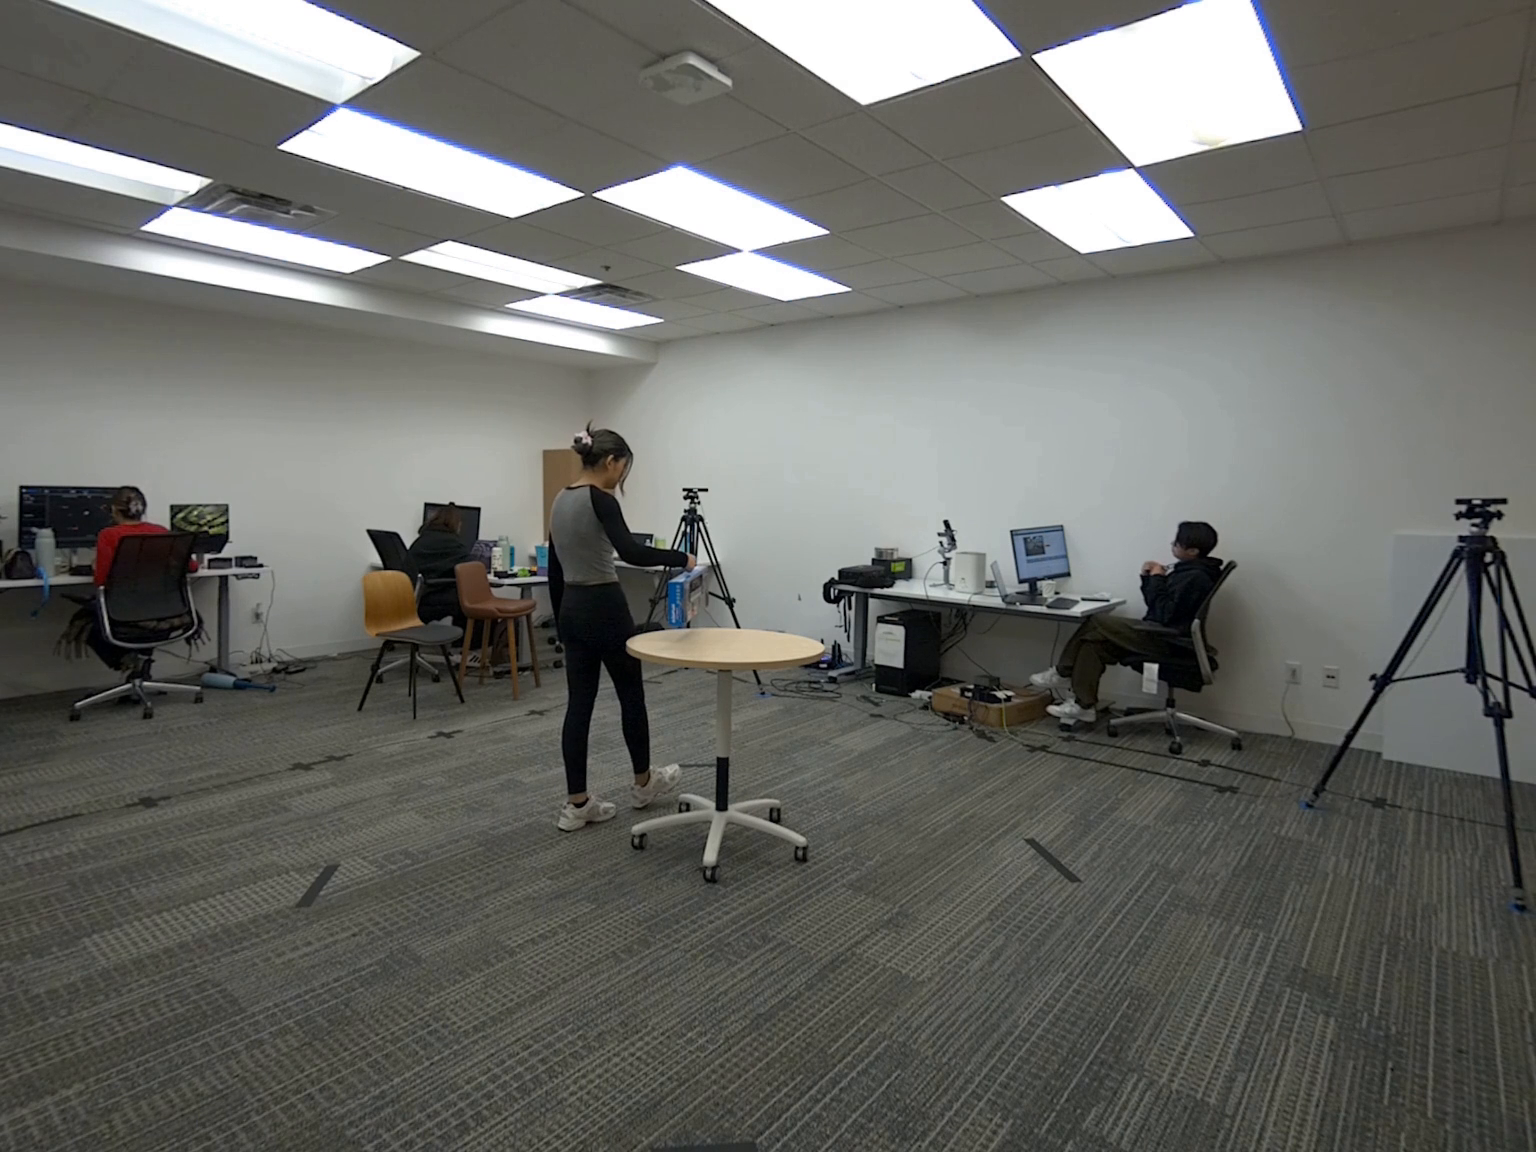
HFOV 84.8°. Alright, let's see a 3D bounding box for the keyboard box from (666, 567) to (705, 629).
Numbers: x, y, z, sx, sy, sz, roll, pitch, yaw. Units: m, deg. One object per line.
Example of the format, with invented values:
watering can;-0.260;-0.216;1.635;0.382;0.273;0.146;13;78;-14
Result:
keyboard box;-0.332;0.071;3.473;0.060;0.174;0.435;0;9;9
